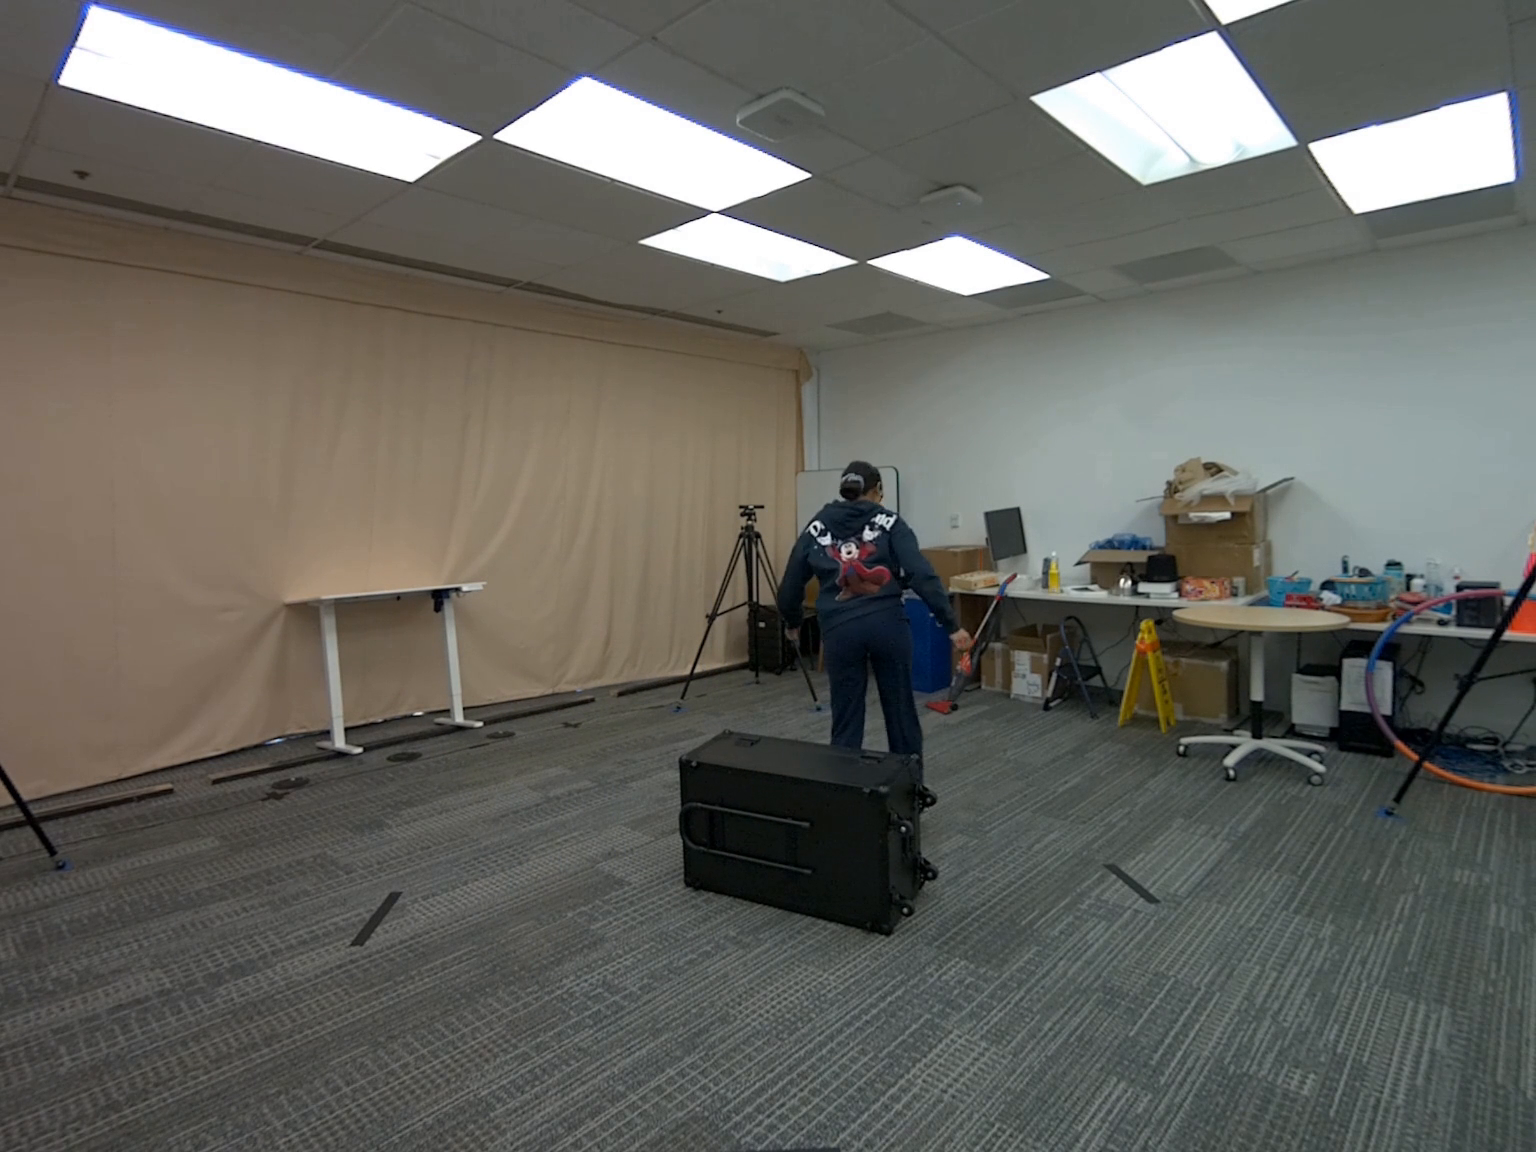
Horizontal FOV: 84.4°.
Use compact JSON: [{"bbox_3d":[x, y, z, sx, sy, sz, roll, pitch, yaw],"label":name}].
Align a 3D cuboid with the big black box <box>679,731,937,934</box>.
[{"bbox_3d":[0.135,0.882,2.996,0.885,0.519,0.387,1,7,28],"label":"big black box"}]
